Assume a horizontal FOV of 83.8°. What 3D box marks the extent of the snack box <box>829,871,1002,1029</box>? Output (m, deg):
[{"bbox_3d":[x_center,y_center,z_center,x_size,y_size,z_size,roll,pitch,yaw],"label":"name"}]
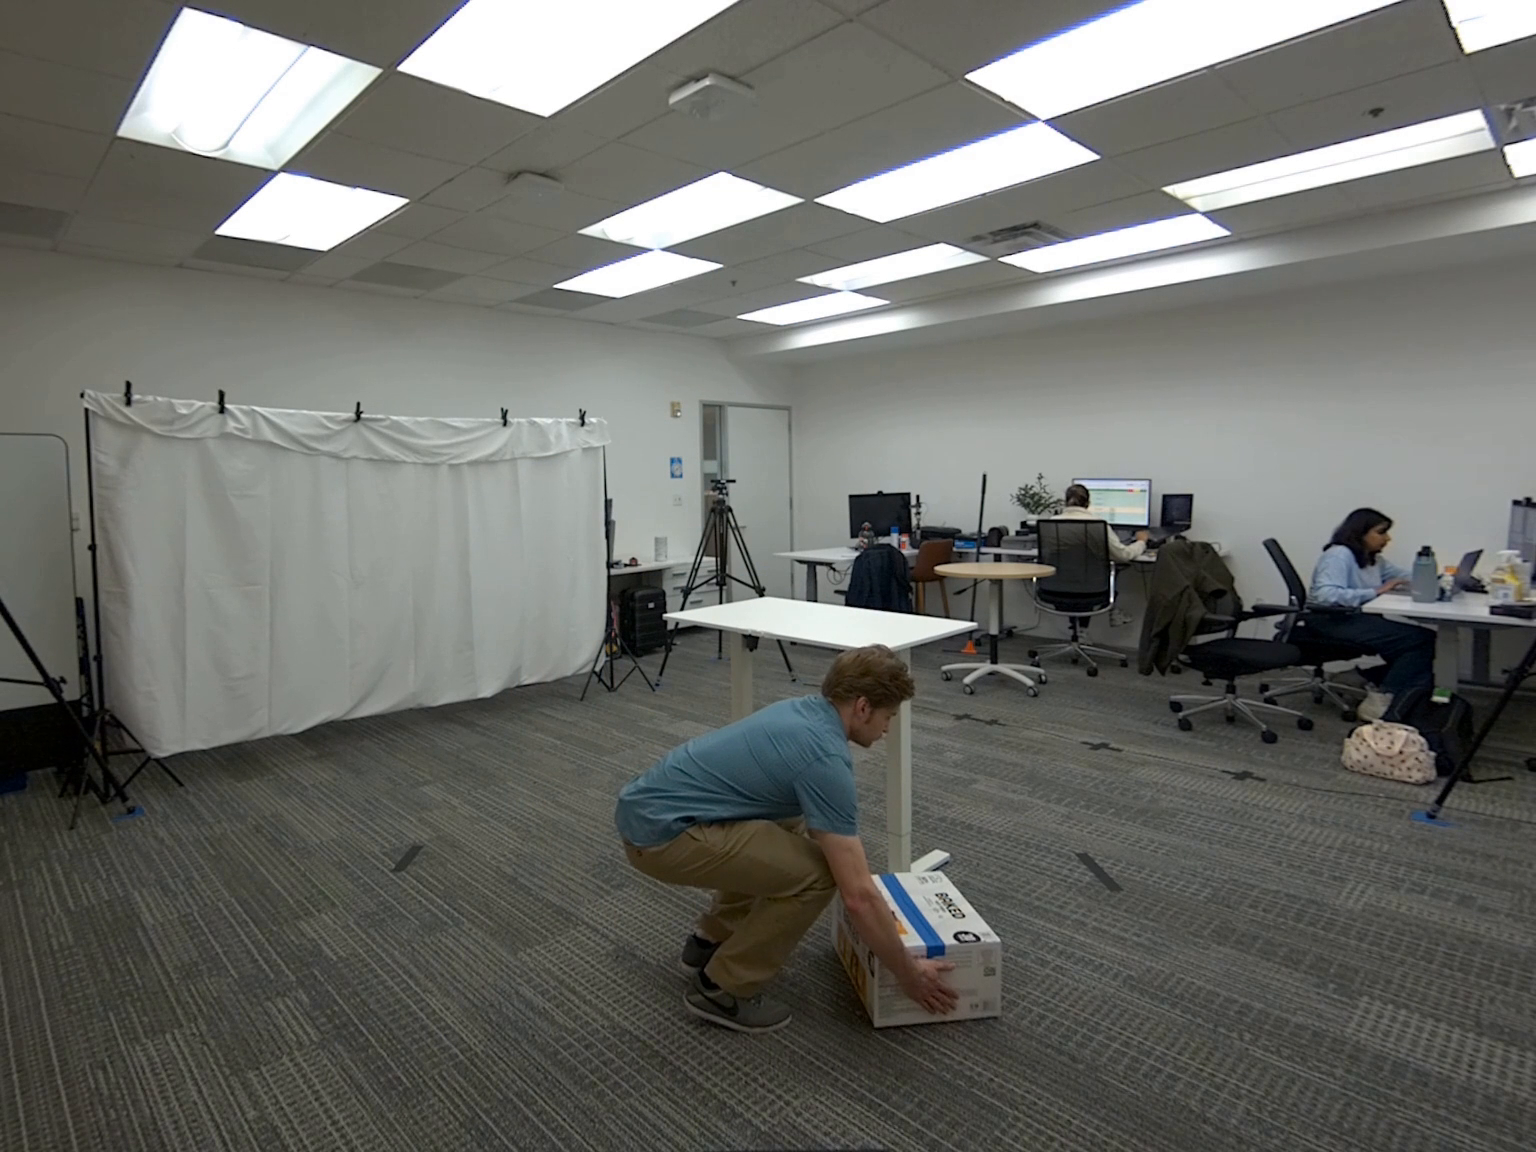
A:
[{"bbox_3d":[0.397,1.014,2.364,0.337,0.205,0.410,0,6,-9],"label":"snack box"}]
